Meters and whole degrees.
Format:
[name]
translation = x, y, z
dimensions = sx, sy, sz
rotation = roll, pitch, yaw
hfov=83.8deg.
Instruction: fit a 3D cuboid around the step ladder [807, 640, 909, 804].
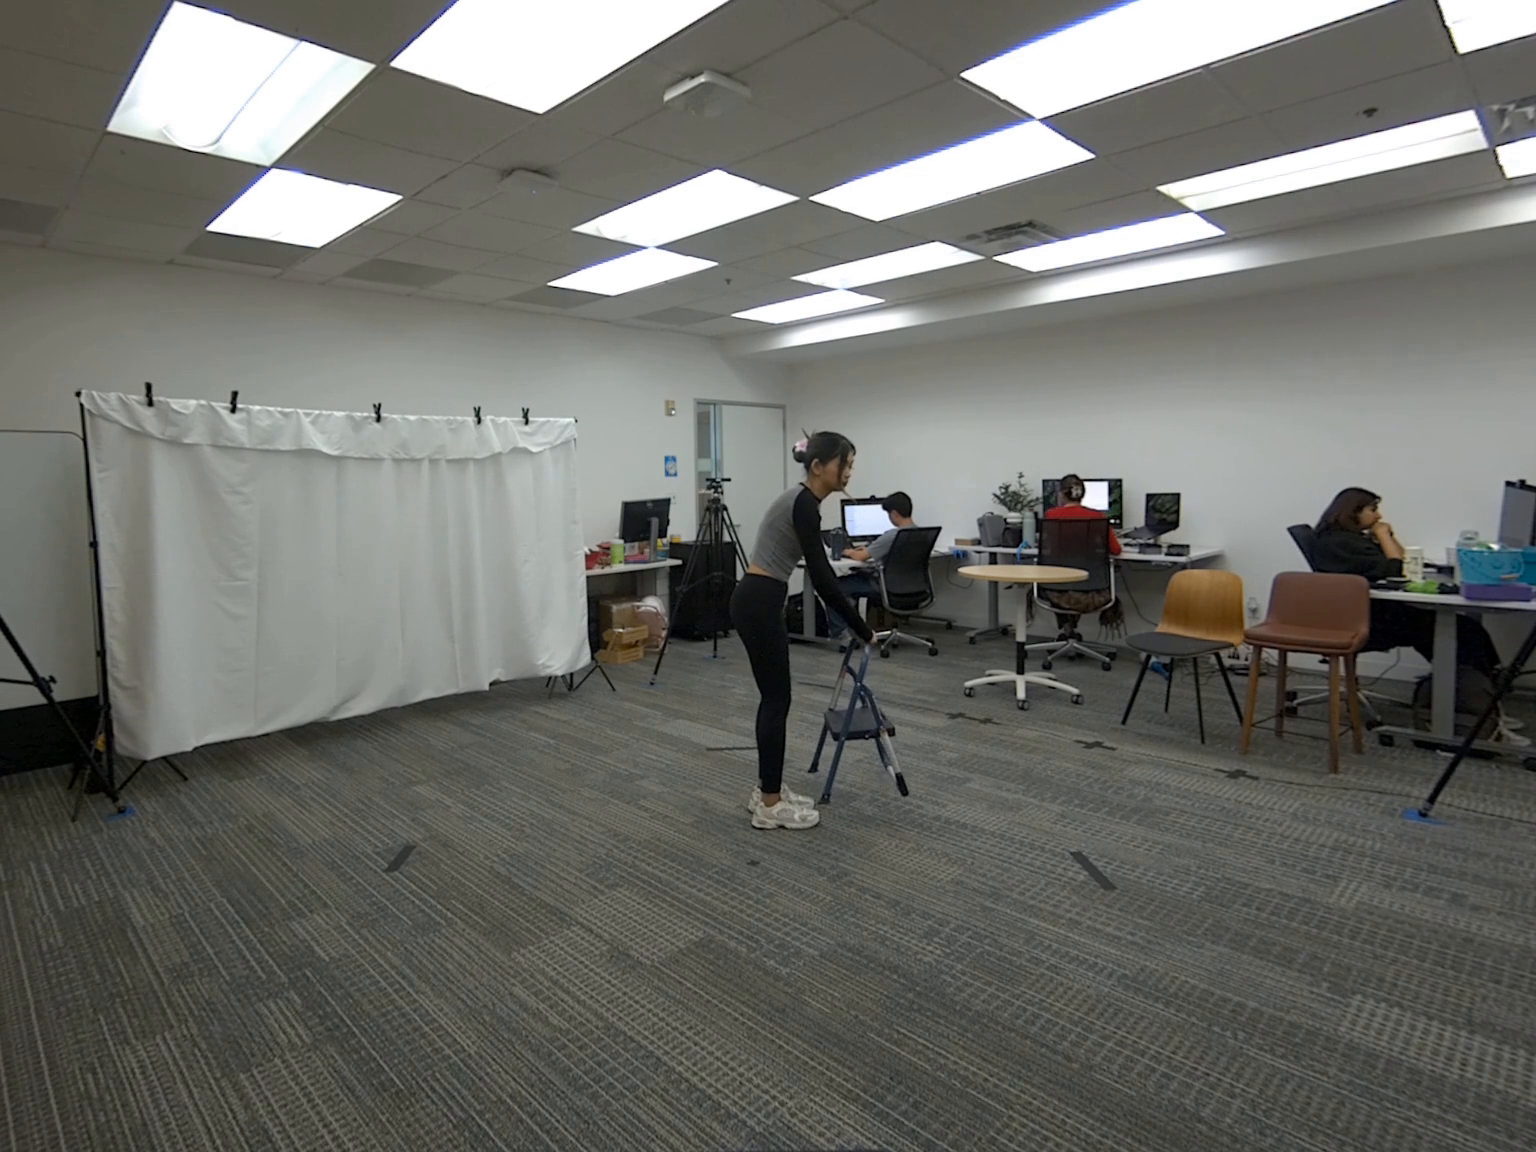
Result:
[step ladder]
translation = 0.336, 0.541, 3.442
dimensions = 0.349, 0.605, 0.432
rotation = -5, 2, -2
